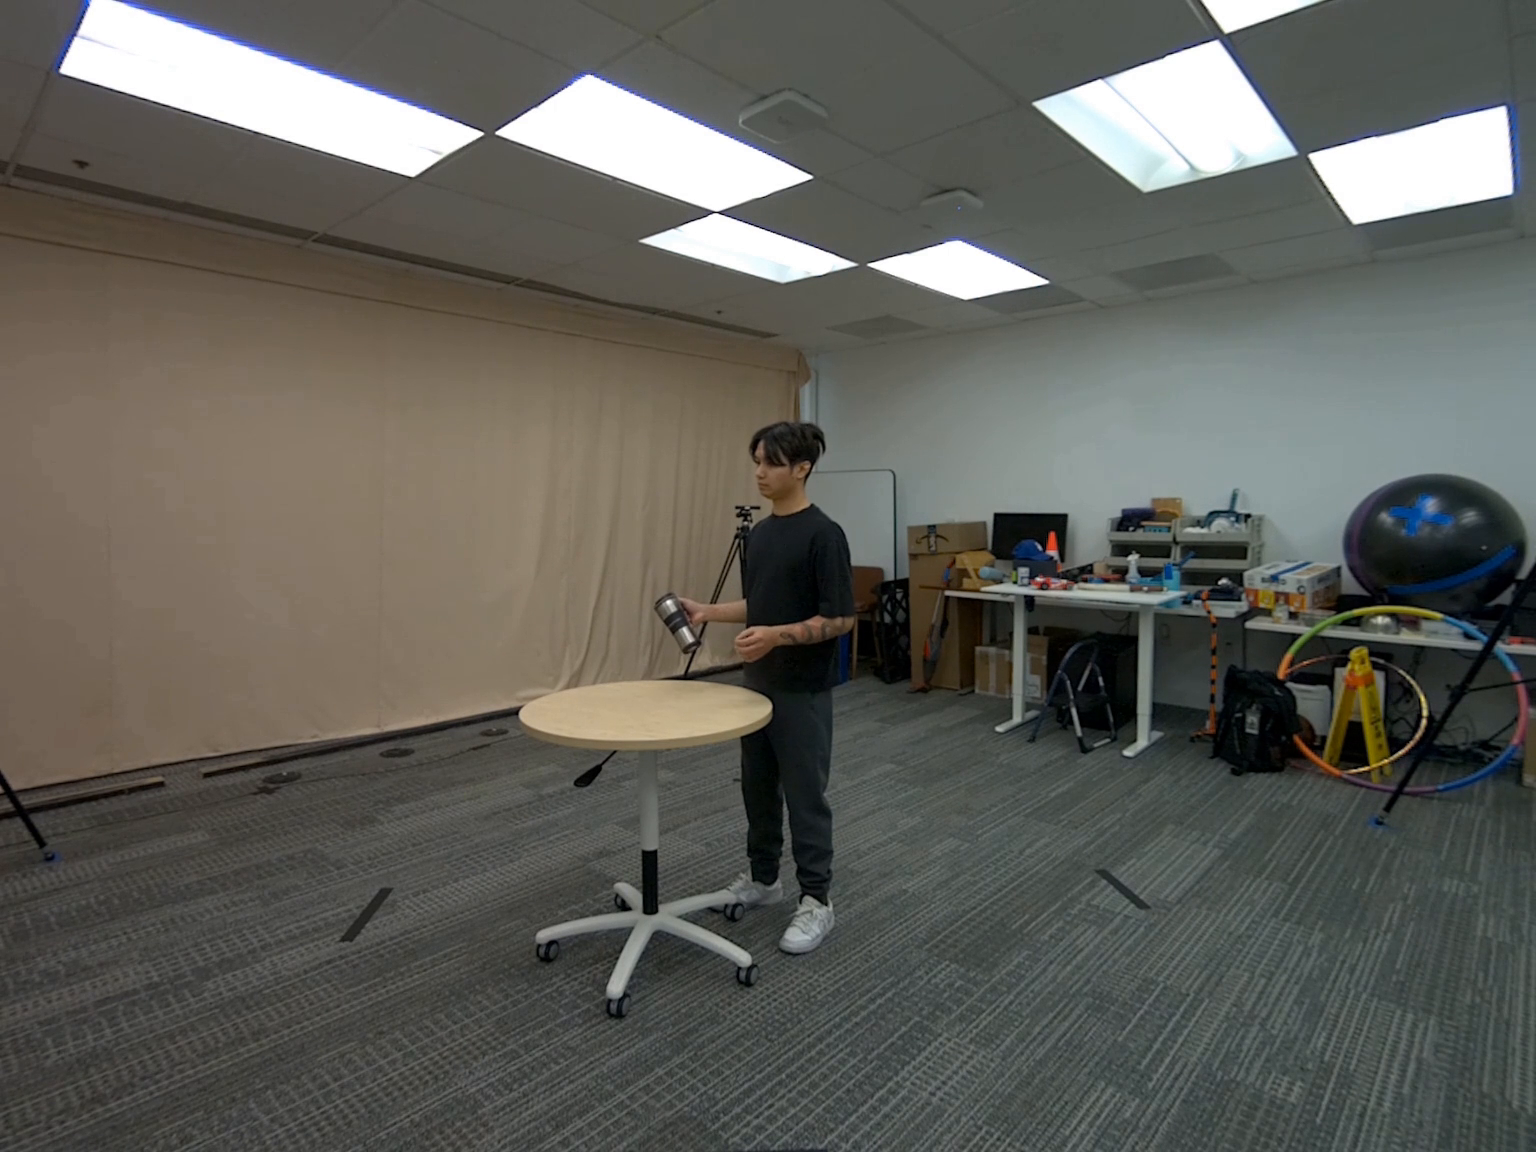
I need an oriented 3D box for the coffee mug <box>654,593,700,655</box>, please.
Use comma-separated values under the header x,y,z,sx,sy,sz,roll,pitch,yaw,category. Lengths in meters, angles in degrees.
x,y,z,sx,sy,sz,roll,pitch,yaw,category
-0.284,0.148,2.835,0.123,0.207,0.085,-39,-22,21,coffee mug
